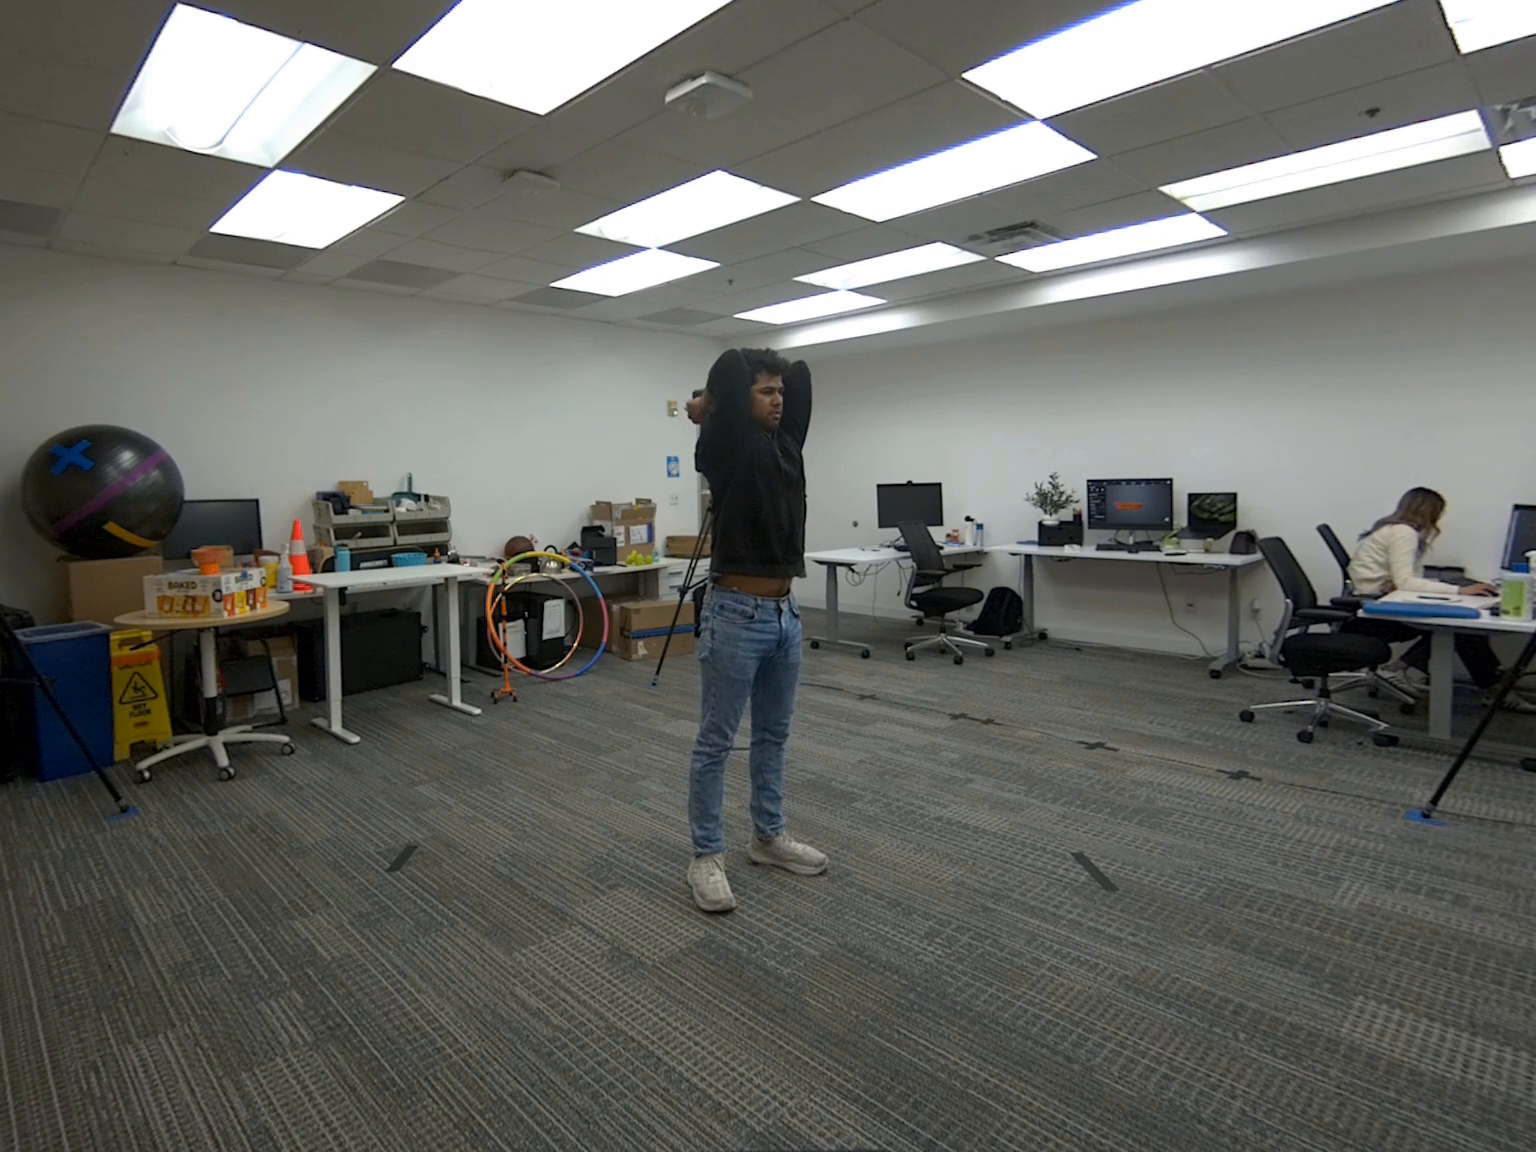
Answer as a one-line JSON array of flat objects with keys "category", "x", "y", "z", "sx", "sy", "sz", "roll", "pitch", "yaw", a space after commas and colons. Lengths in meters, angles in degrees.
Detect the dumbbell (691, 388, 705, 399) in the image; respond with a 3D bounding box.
[{"category": "dumbbell", "x": -0.184, "y": -0.535, "z": 3.031, "sx": 0.120, "sy": 0.292, "sz": 0.112, "roll": -4, "pitch": 8, "yaw": -40}]
